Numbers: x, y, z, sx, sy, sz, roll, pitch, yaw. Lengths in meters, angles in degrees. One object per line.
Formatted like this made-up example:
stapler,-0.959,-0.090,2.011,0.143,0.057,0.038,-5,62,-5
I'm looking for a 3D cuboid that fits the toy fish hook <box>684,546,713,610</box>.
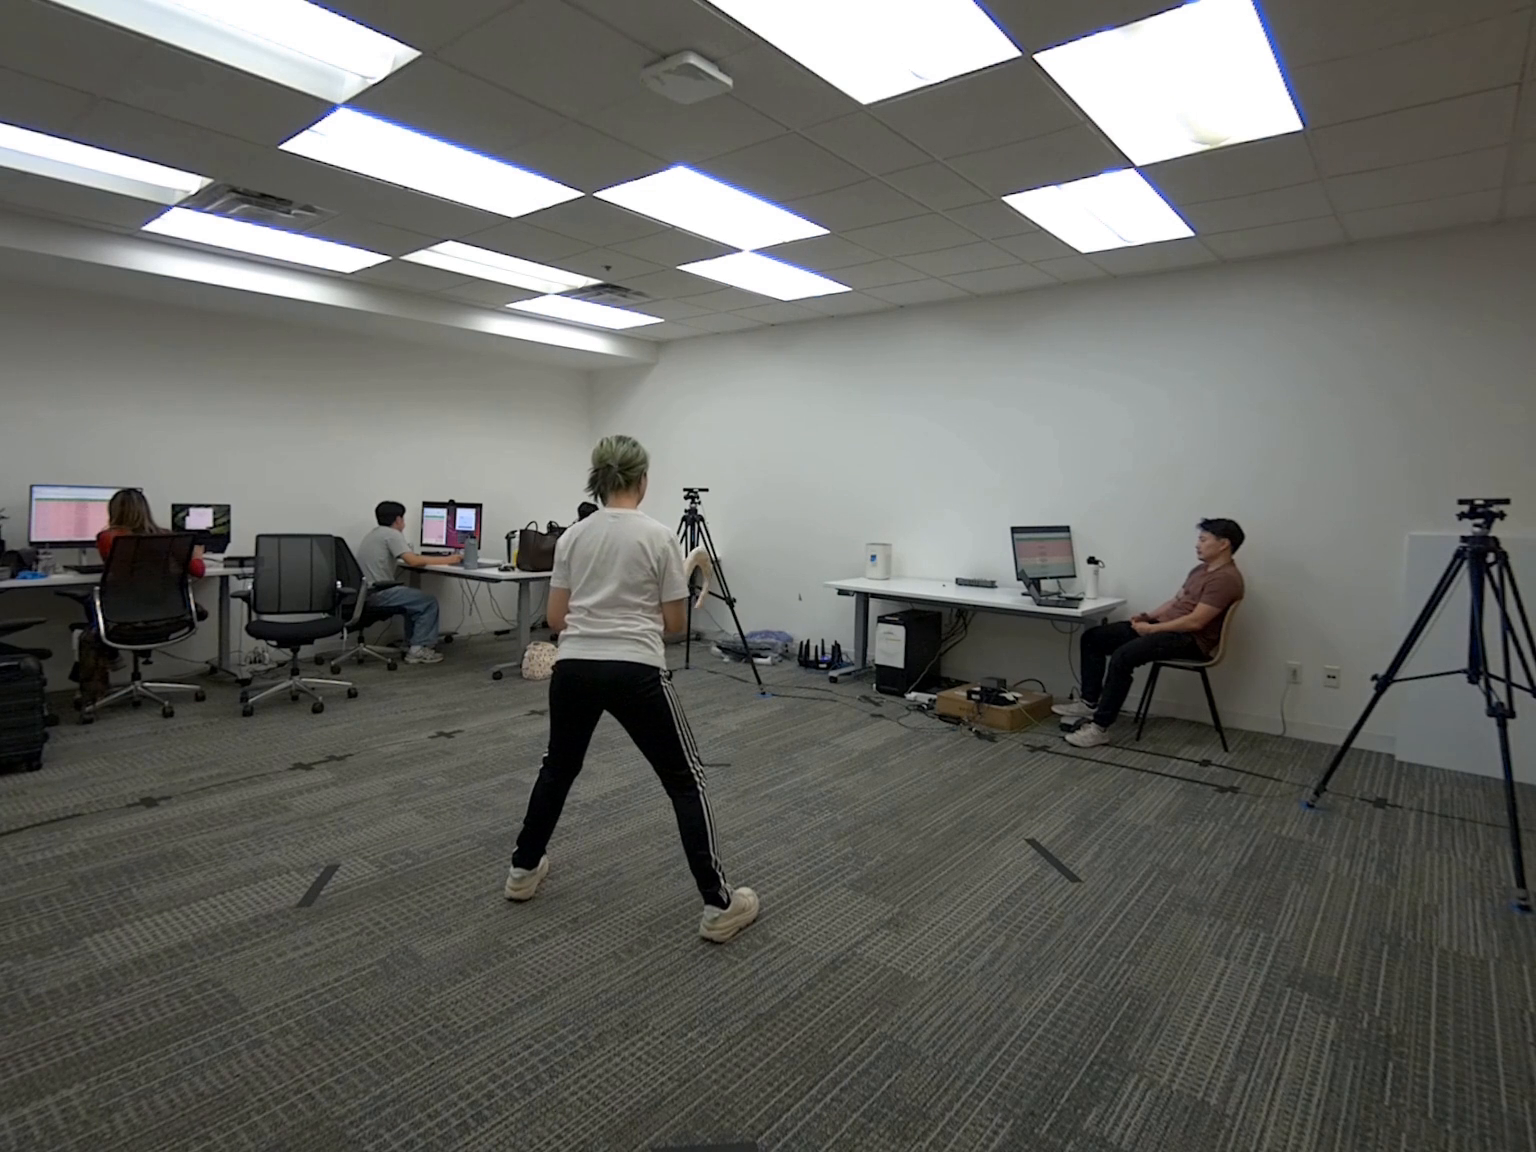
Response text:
toy fish hook,-0.321,0.108,3.193,0.049,0.216,0.512,0,45,28
